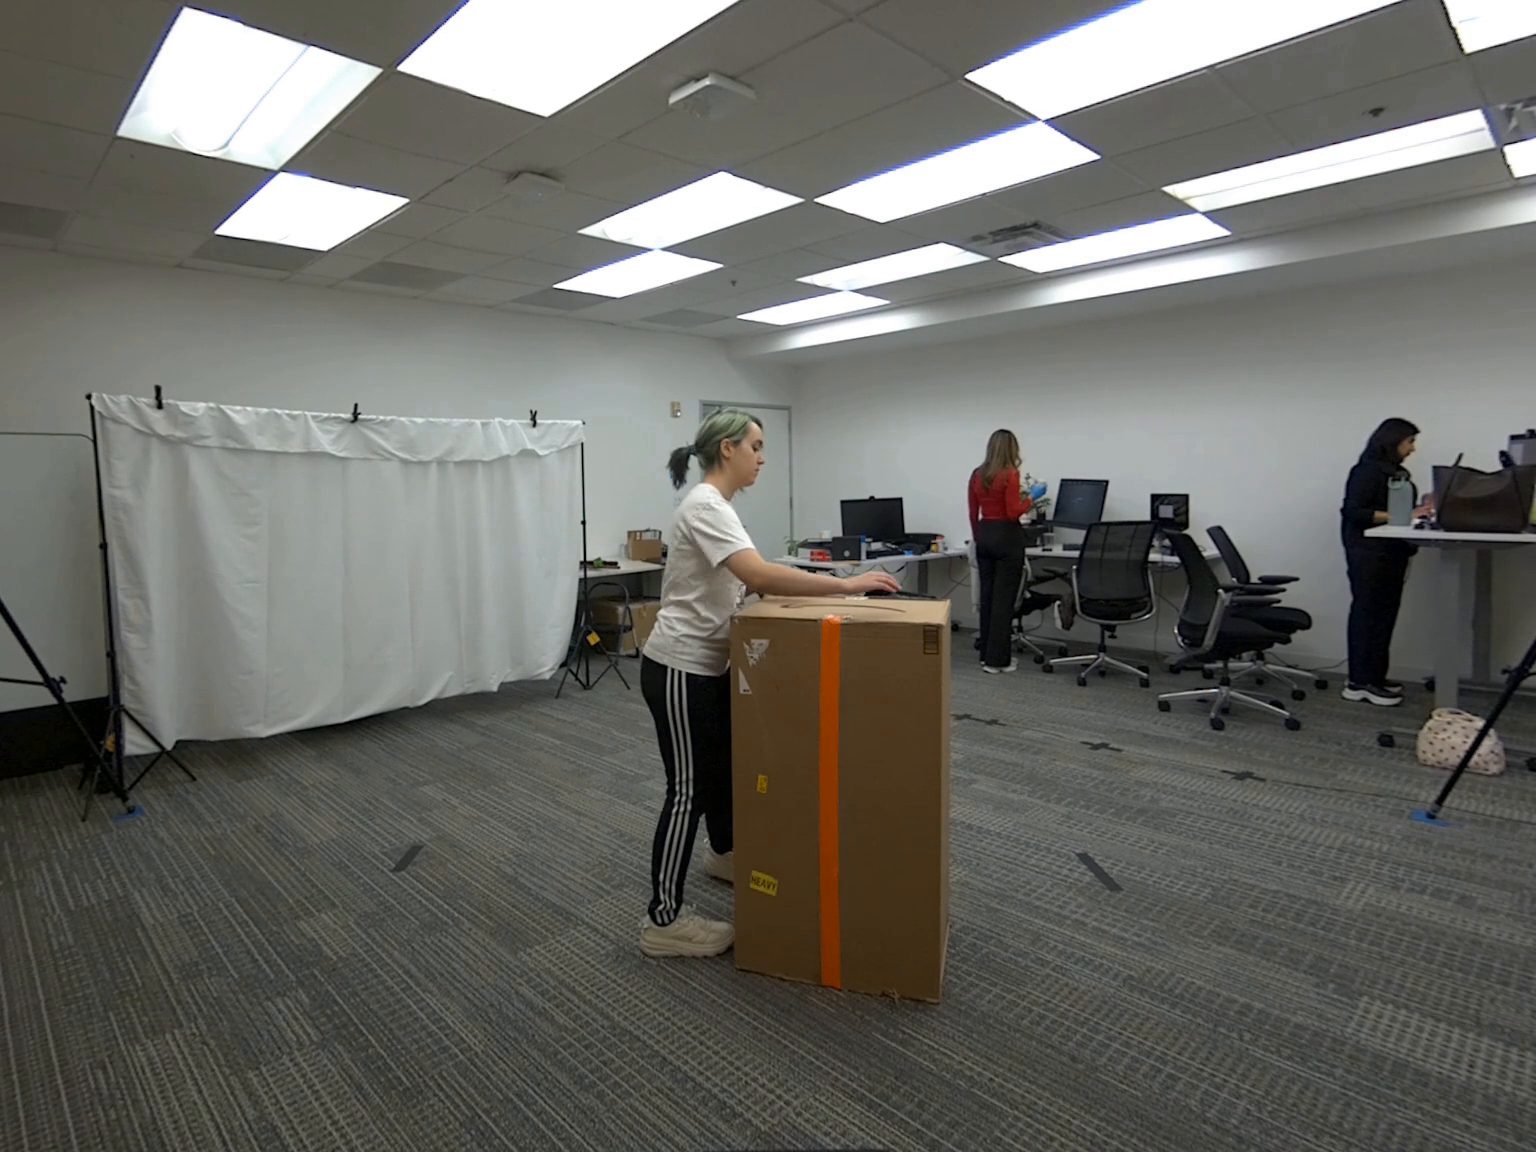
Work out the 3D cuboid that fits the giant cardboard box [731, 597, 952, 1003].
[{"bbox_3d":[0.229,0.600,2.515,0.593,1.024,0.441,0,3,17],"label":"giant cardboard box"}]
